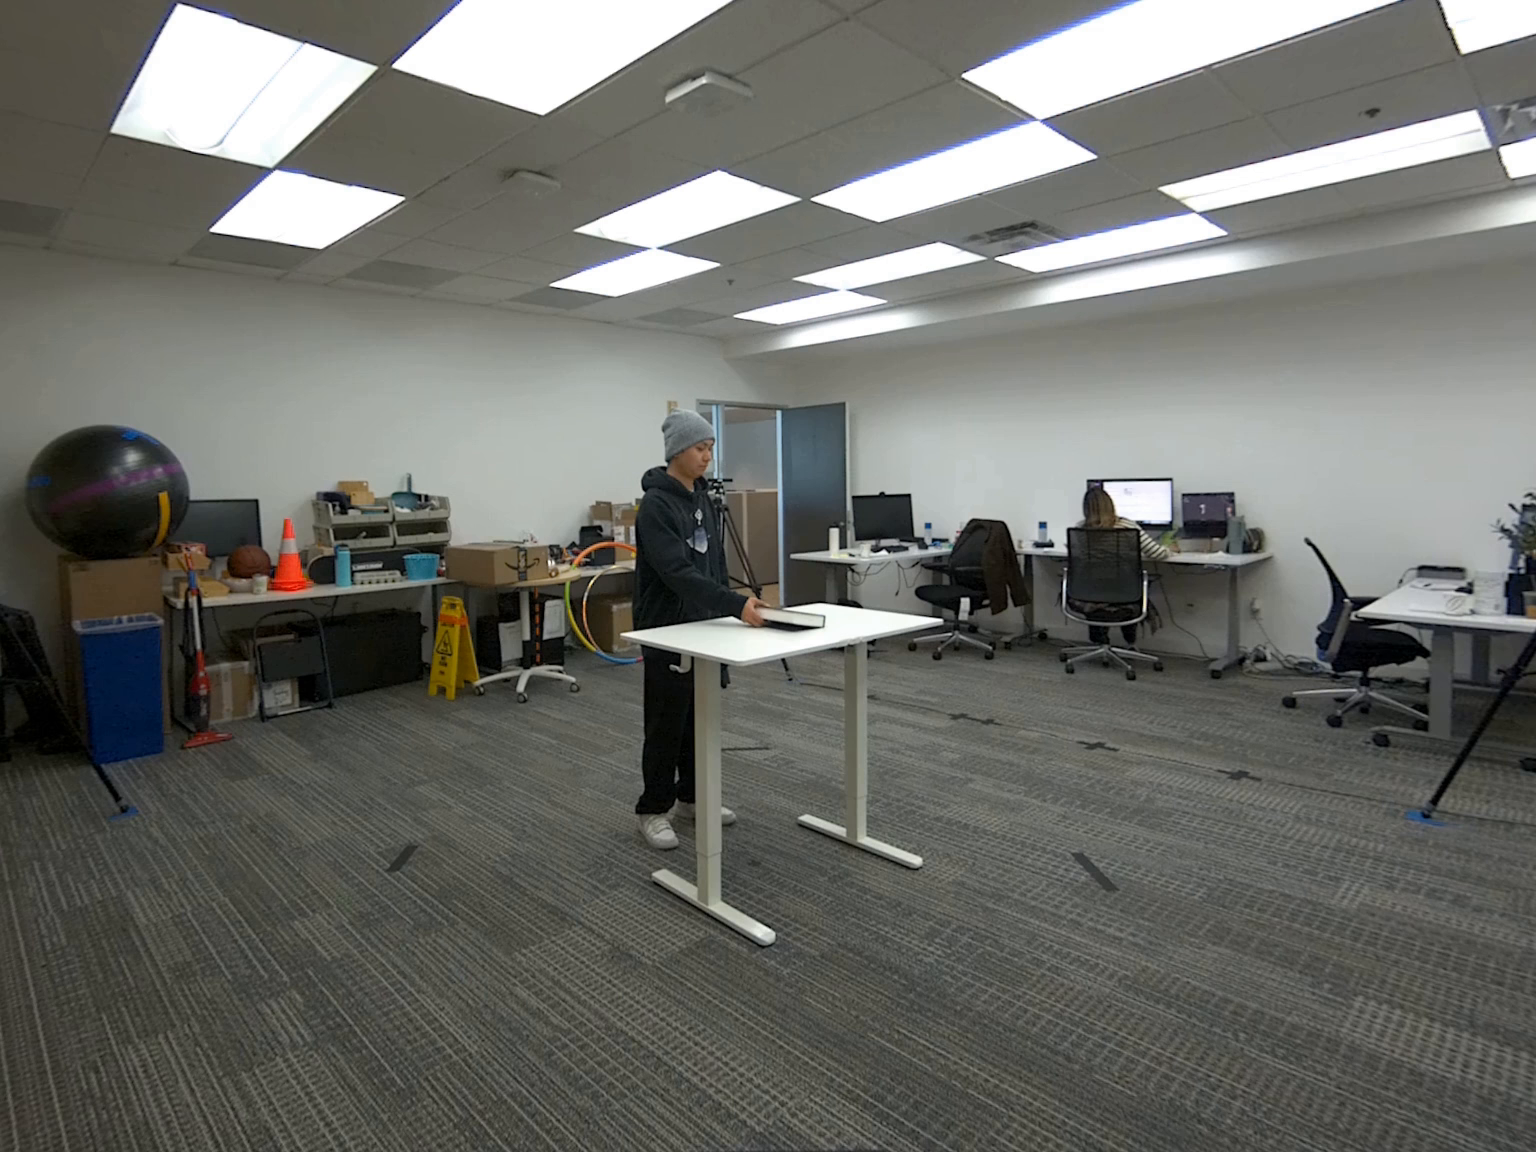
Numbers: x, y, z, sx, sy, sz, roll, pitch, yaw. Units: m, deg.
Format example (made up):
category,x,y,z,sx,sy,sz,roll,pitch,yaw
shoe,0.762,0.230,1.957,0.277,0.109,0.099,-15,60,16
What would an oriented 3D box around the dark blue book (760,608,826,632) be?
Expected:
category,x,y,z,sx,sy,sz,roll,pitch,yaw
dark blue book,0.056,0.140,2.983,0.158,0.045,0.253,8,-1,-42
